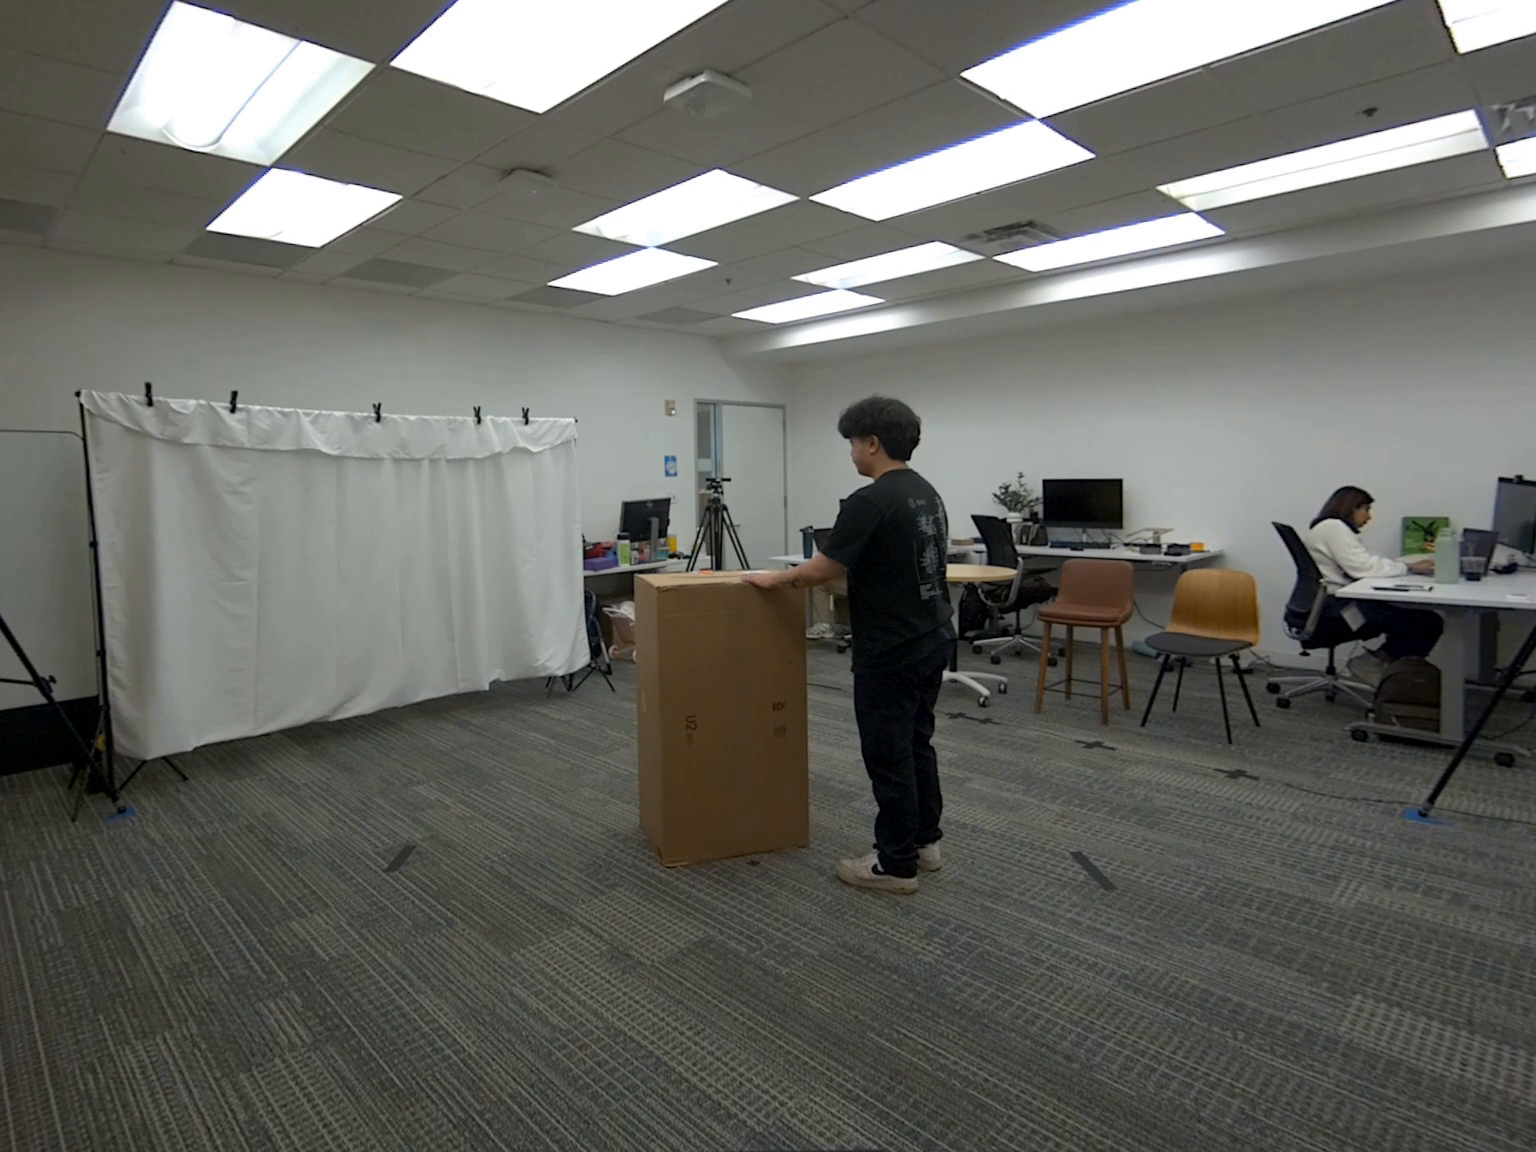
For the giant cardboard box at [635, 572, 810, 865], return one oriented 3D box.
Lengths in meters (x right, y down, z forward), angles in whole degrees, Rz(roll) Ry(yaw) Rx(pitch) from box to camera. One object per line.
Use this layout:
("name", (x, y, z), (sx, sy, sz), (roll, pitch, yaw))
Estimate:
("giant cardboard box", (-0.189, 0.507, 3.332), (0.575, 1.024, 0.455), (-2, 4, -18))
